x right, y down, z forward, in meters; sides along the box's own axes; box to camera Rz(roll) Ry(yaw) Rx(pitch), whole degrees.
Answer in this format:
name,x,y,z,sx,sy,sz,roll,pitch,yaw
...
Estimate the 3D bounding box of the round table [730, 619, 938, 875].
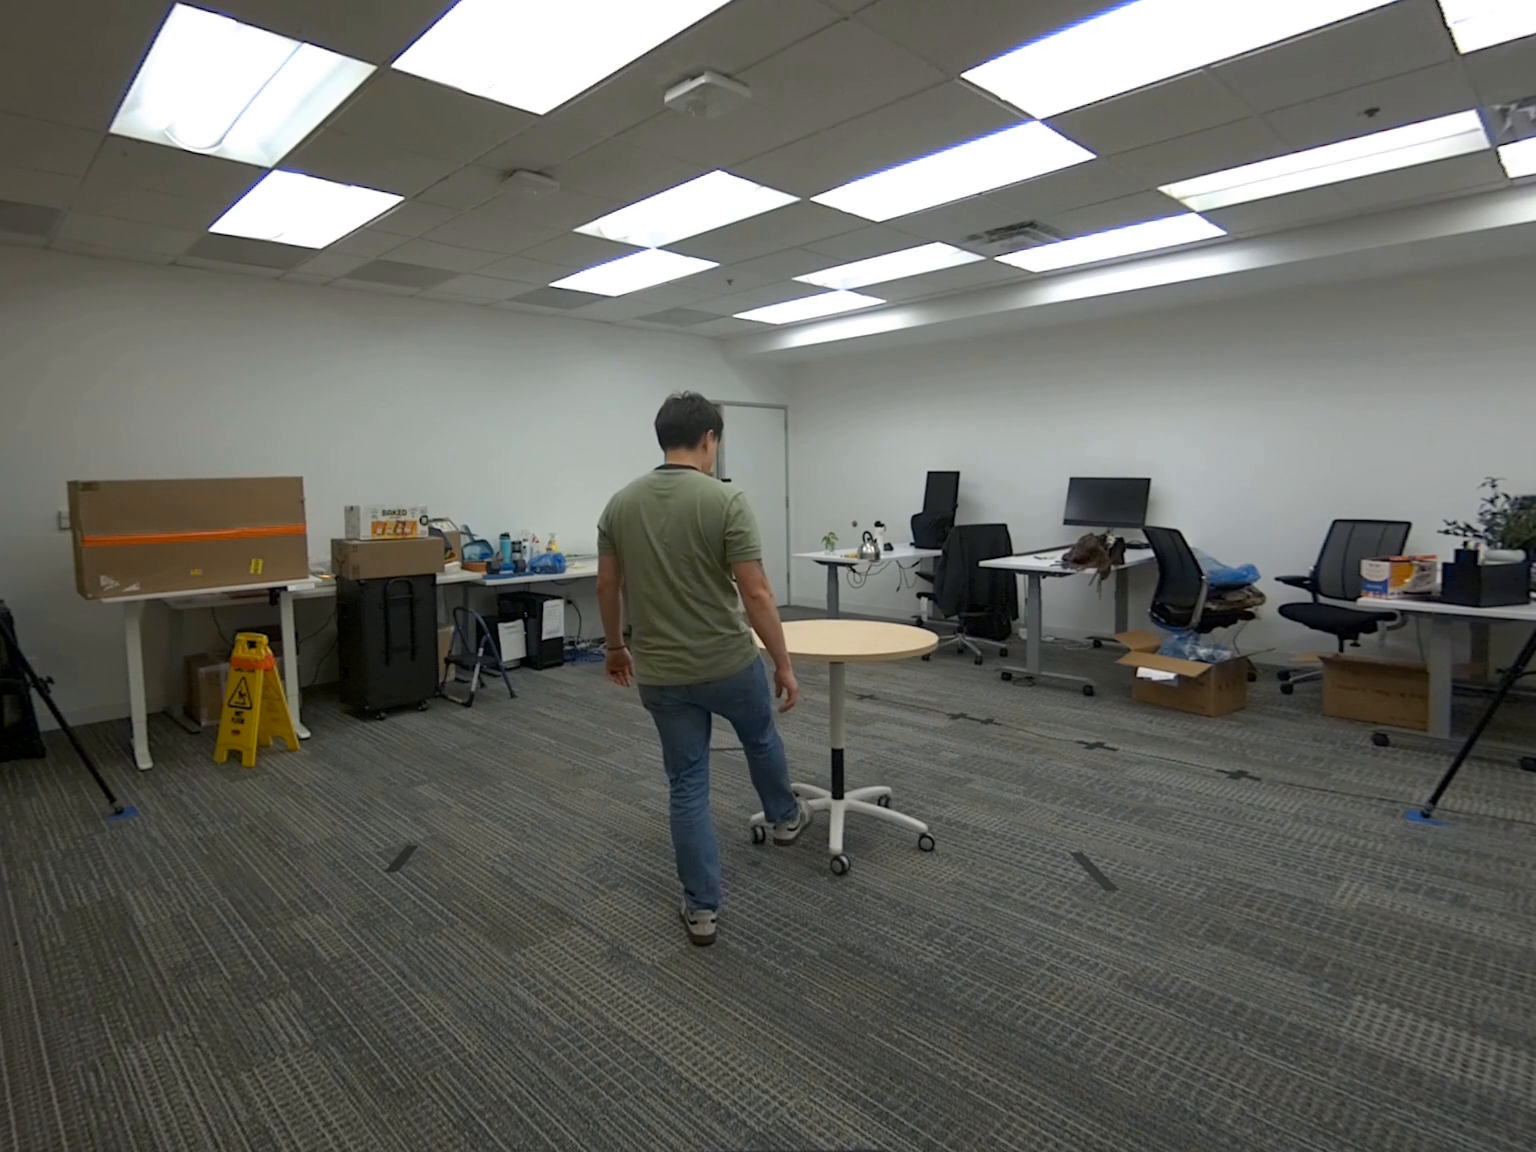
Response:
name,x,y,z,sx,sy,sz,roll,pitch,yaw
round table,0.280,0.624,3.328,0.763,0.791,0.767,-1,4,-2
